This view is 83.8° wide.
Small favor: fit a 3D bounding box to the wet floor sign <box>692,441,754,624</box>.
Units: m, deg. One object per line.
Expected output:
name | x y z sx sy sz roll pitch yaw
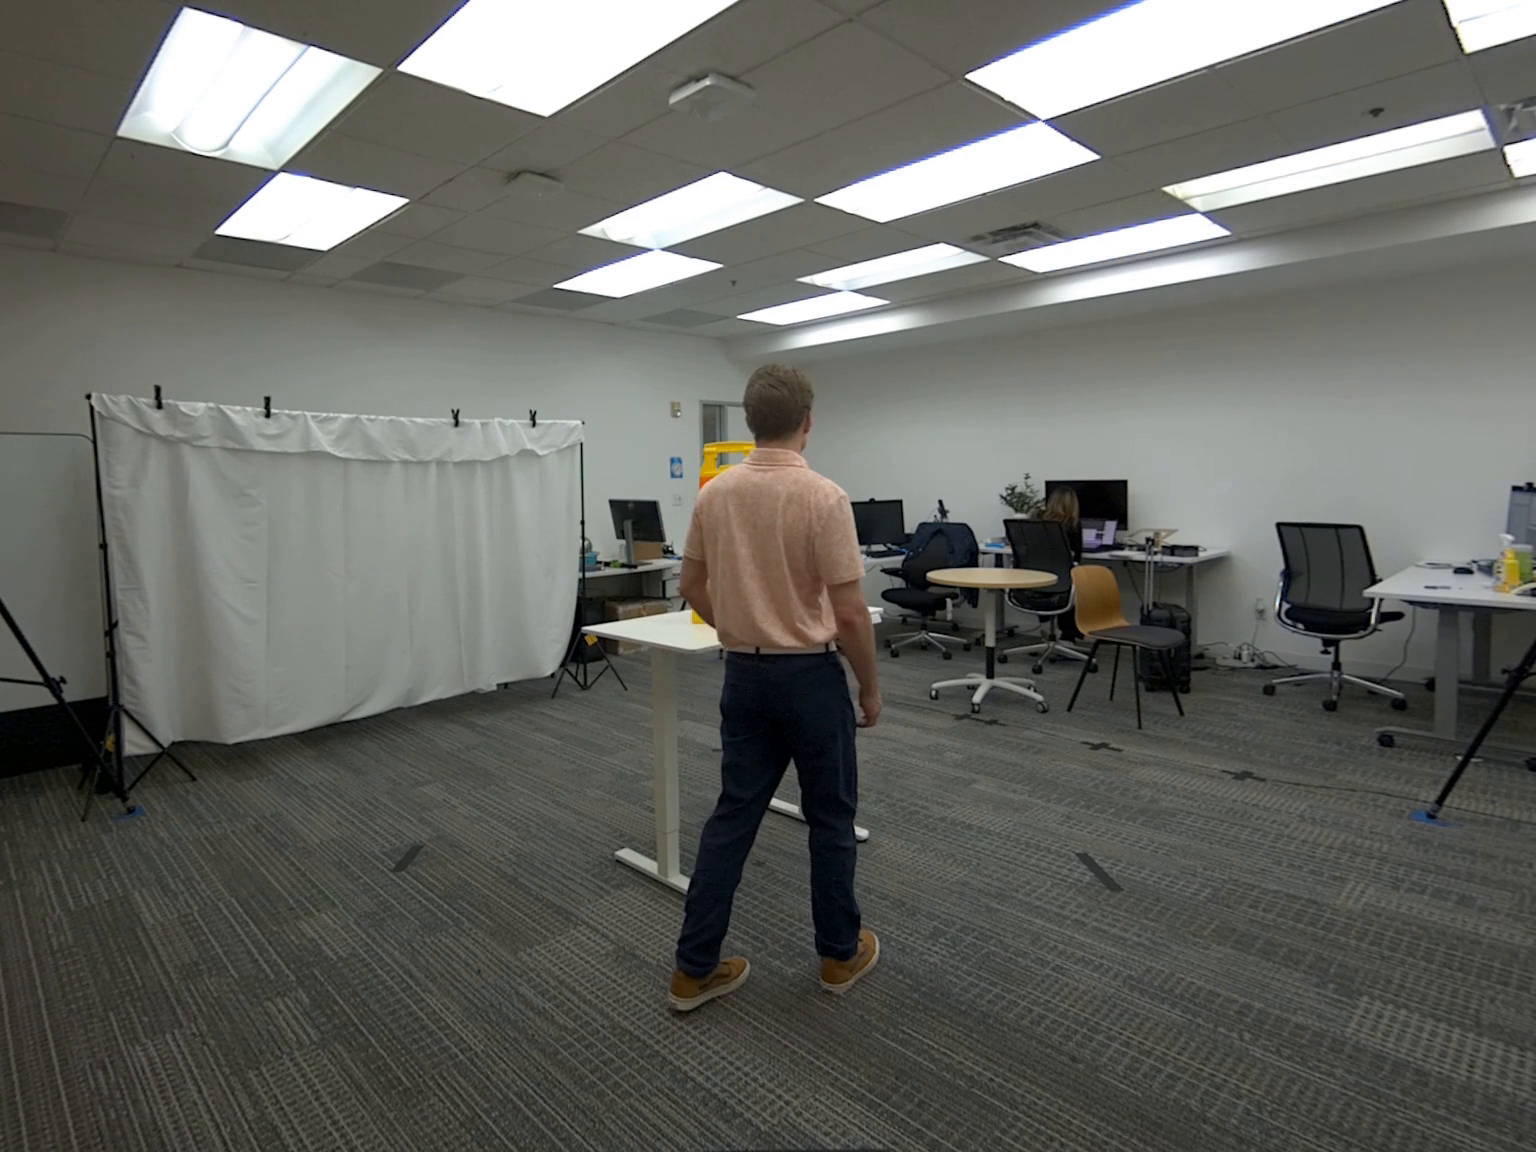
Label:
wet floor sign | -0.129 -0.164 3.156 0.284 0.643 0.289 -2 4 7
